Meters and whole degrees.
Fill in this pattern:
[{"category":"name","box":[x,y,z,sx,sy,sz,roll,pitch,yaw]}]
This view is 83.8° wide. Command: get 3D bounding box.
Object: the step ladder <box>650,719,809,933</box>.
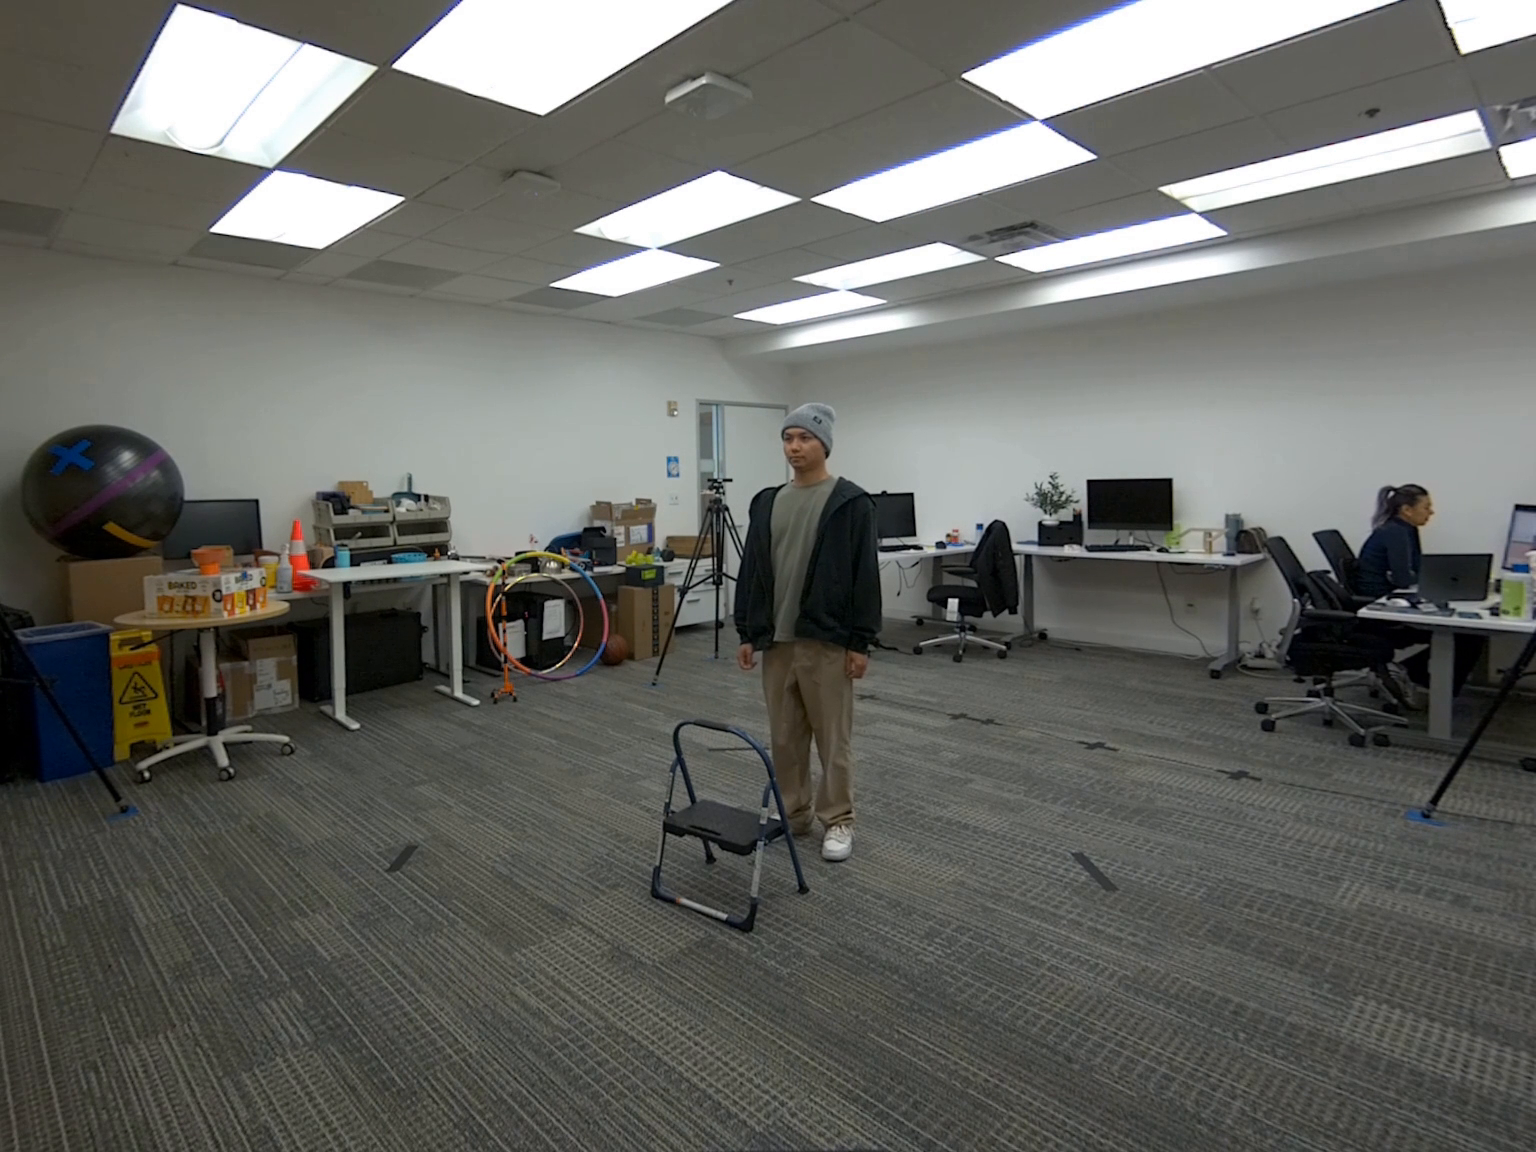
[{"category":"step ladder","box":[-0.136,0.770,2.866,0.443,0.604,0.341,2,5,35]}]
